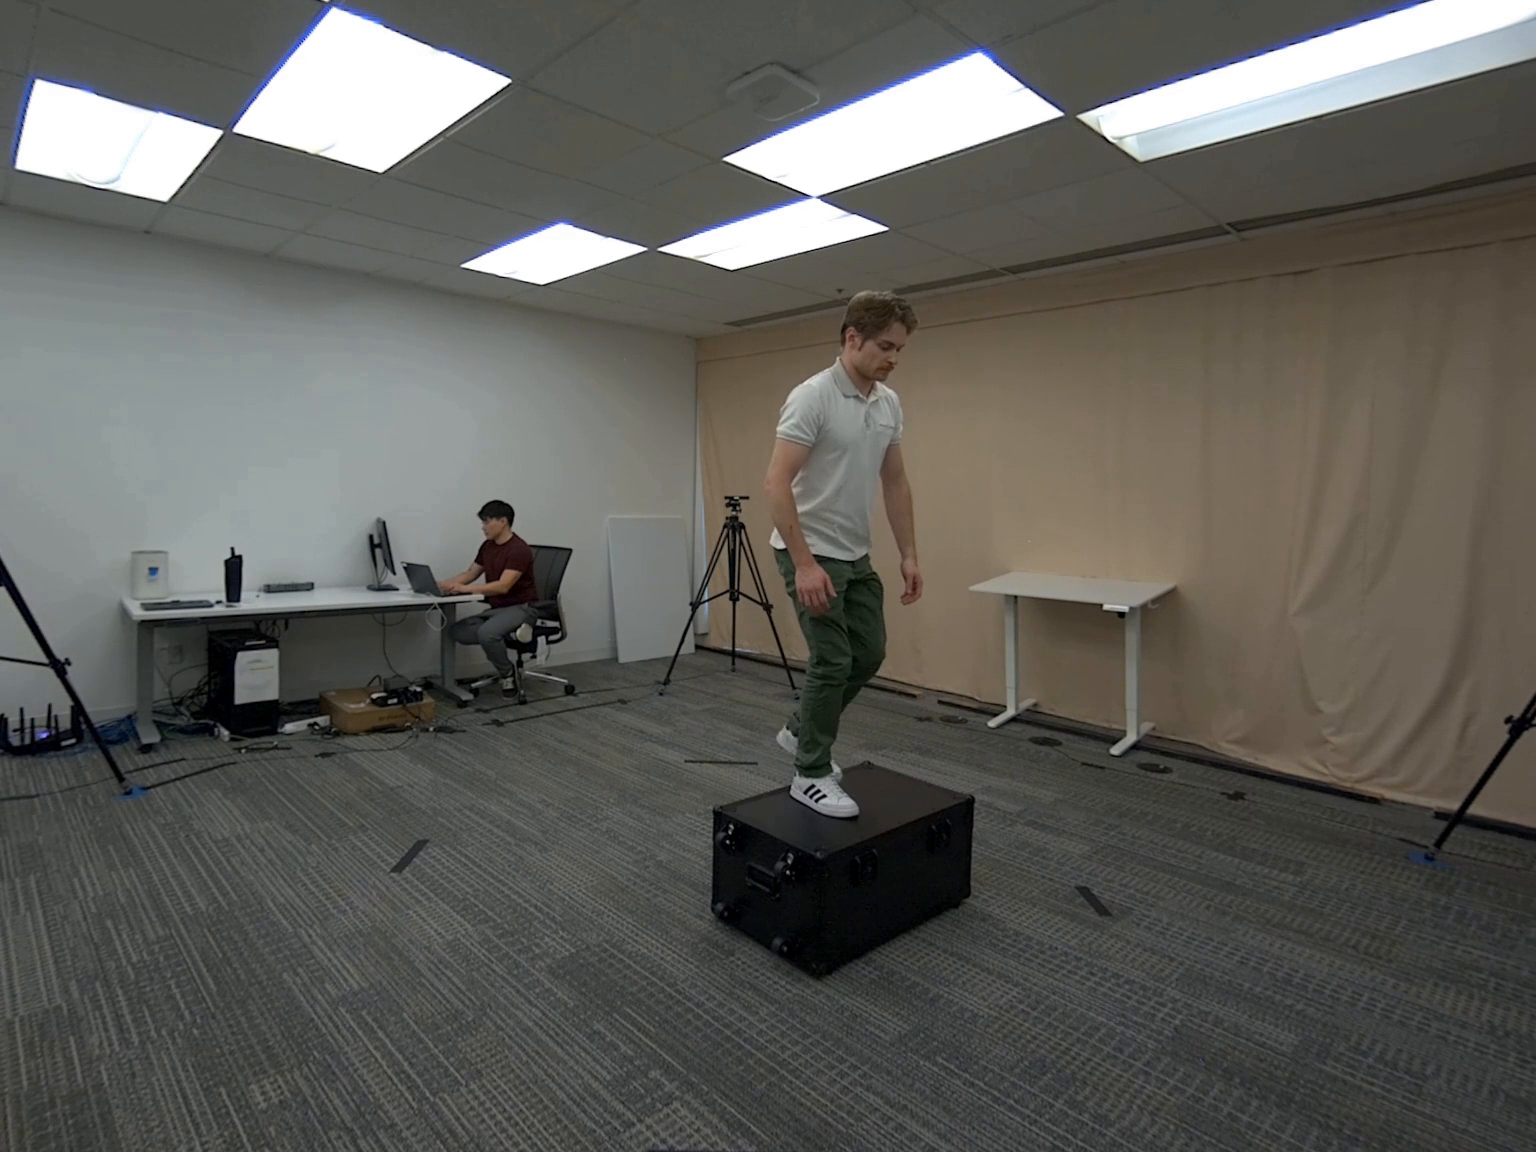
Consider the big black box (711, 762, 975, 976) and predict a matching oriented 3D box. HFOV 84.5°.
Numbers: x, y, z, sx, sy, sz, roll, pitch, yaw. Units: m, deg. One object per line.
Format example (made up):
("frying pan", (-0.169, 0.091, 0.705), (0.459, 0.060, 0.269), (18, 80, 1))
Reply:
("big black box", (0.233, 0.951, 2.824), (0.841, 0.395, 0.535), (-2, 6, -43))
